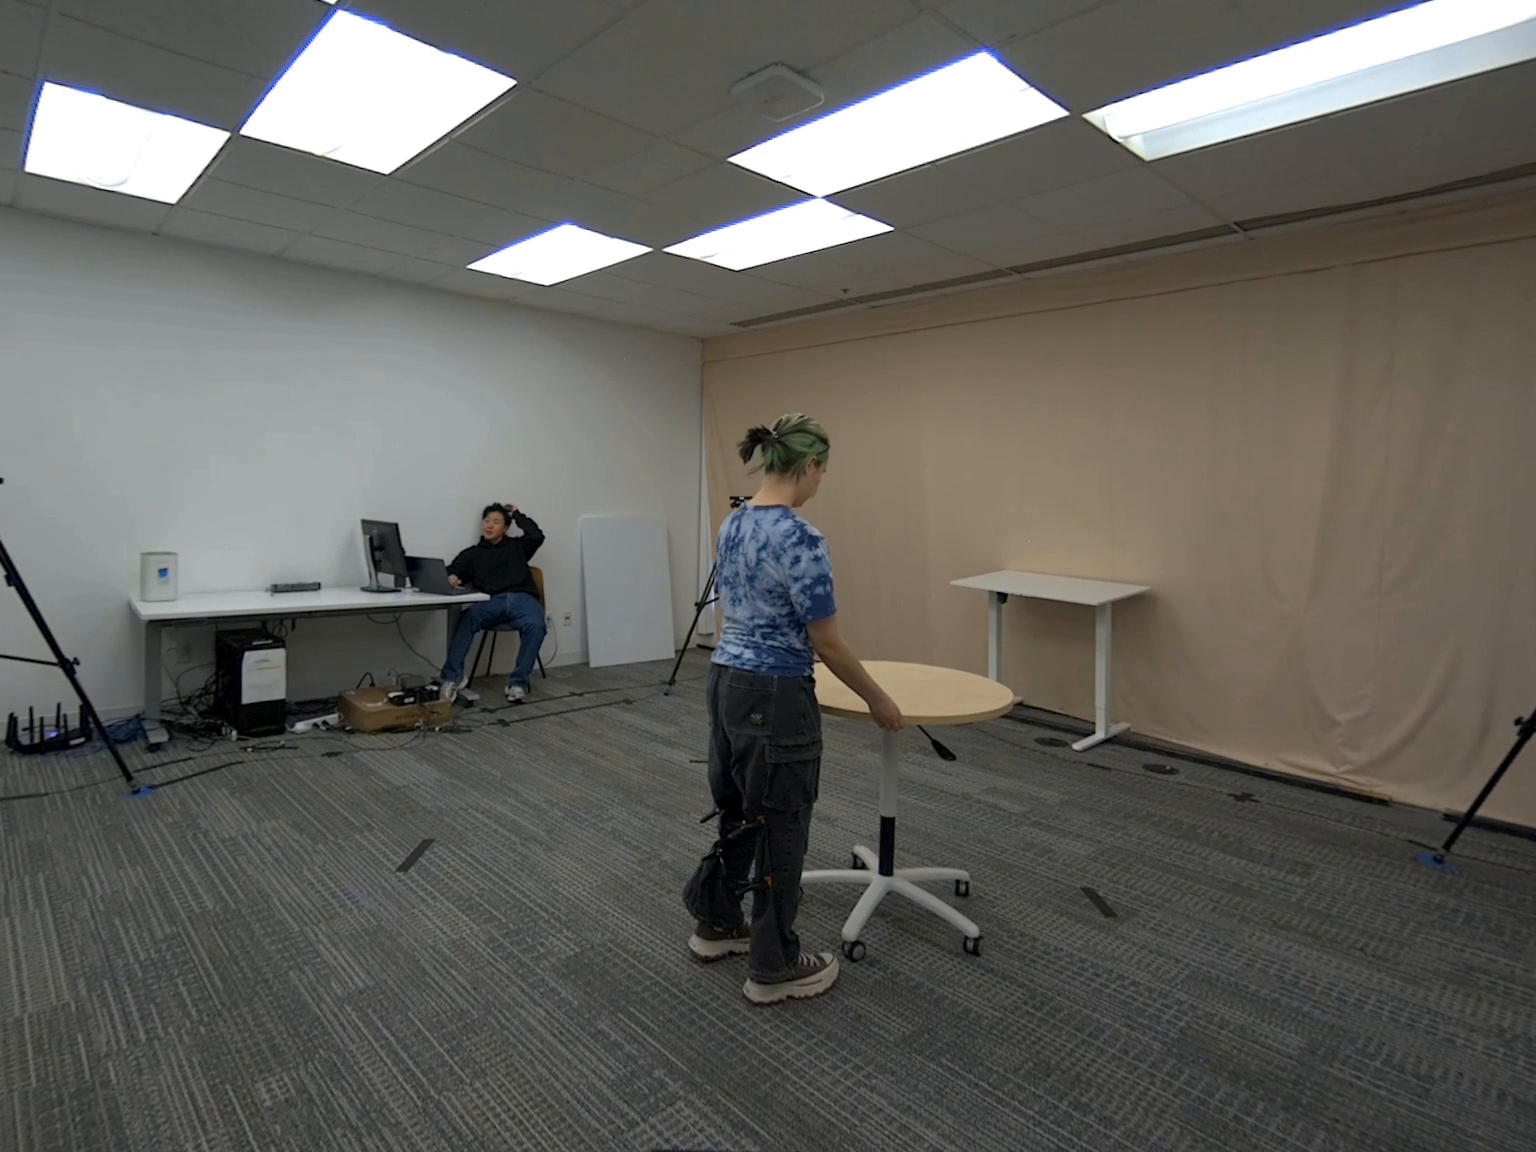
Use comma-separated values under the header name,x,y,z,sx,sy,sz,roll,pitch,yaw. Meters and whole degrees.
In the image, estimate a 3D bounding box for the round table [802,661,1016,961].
name,x,y,z,sx,sy,sz,roll,pitch,yaw
round table,0.394,0.753,2.820,0.763,0.791,0.767,2,5,-2
